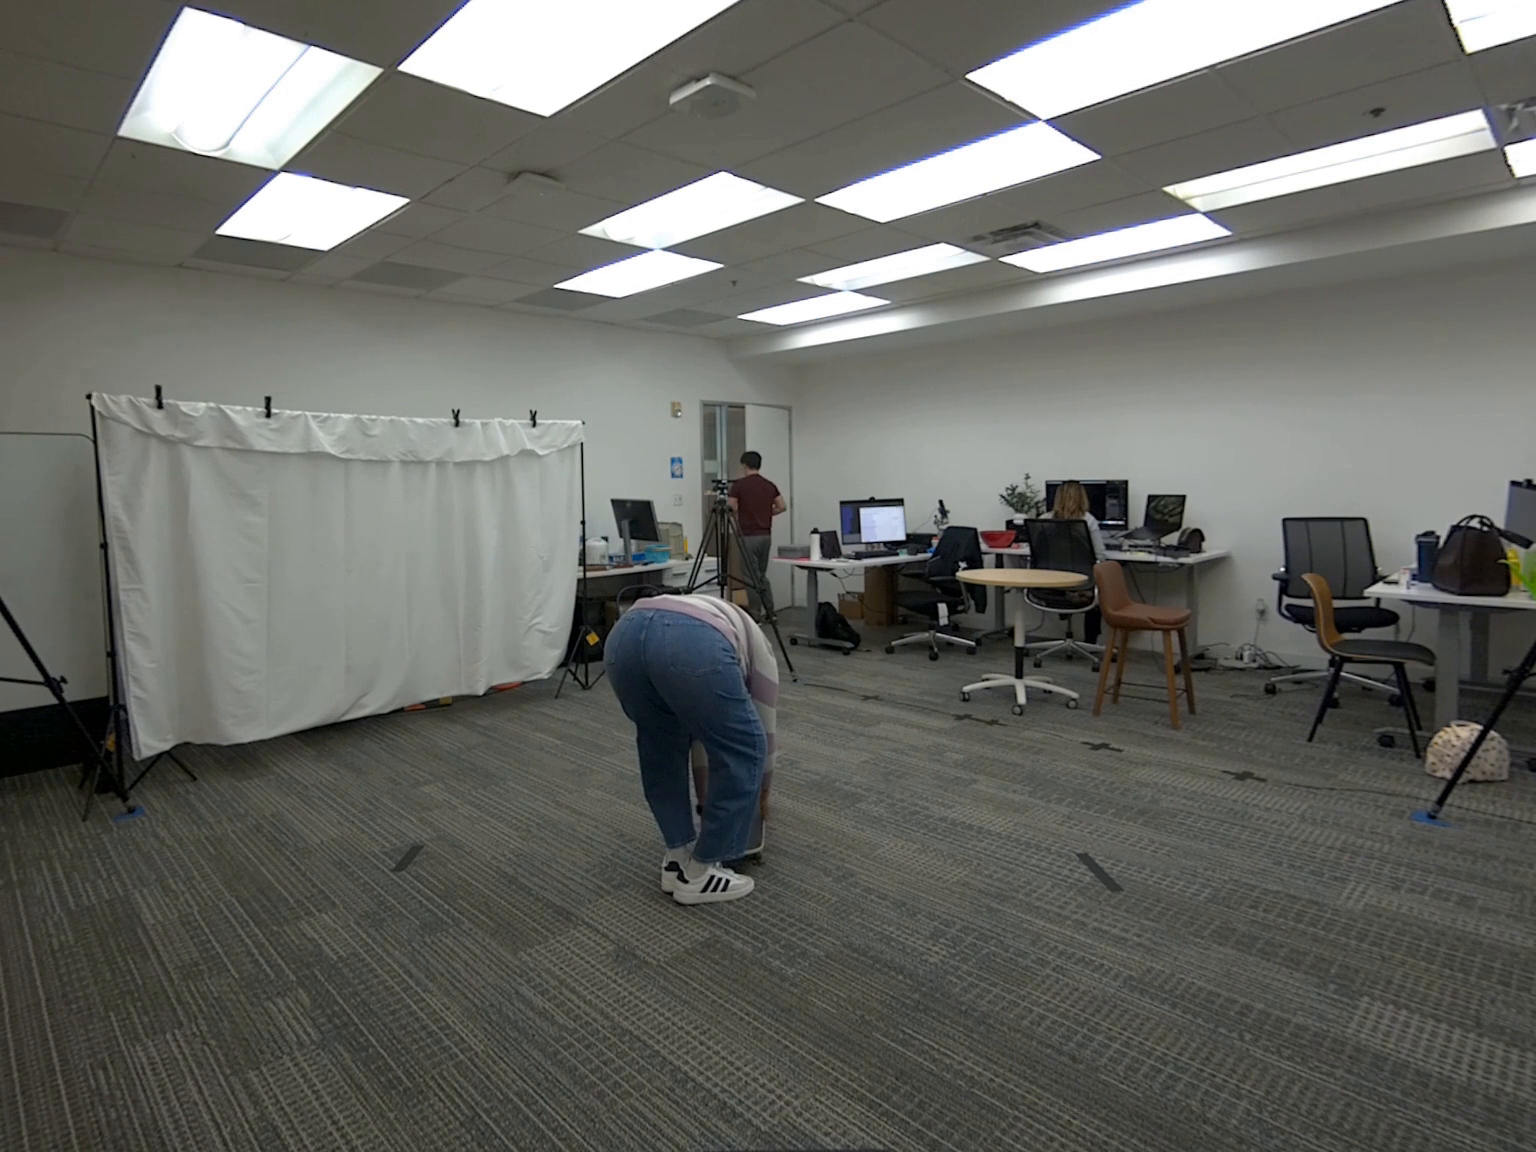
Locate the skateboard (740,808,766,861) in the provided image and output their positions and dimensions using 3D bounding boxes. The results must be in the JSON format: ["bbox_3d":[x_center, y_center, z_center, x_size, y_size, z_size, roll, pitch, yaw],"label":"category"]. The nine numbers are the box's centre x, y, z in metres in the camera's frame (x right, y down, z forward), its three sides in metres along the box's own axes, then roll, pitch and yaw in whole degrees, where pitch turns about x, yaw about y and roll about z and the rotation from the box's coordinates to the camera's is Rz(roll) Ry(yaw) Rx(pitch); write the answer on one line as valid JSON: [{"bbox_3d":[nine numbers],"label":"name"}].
[{"bbox_3d":[-0.097,0.962,3.361,0.194,0.110,0.788,-1,7,0],"label":"skateboard"}]
